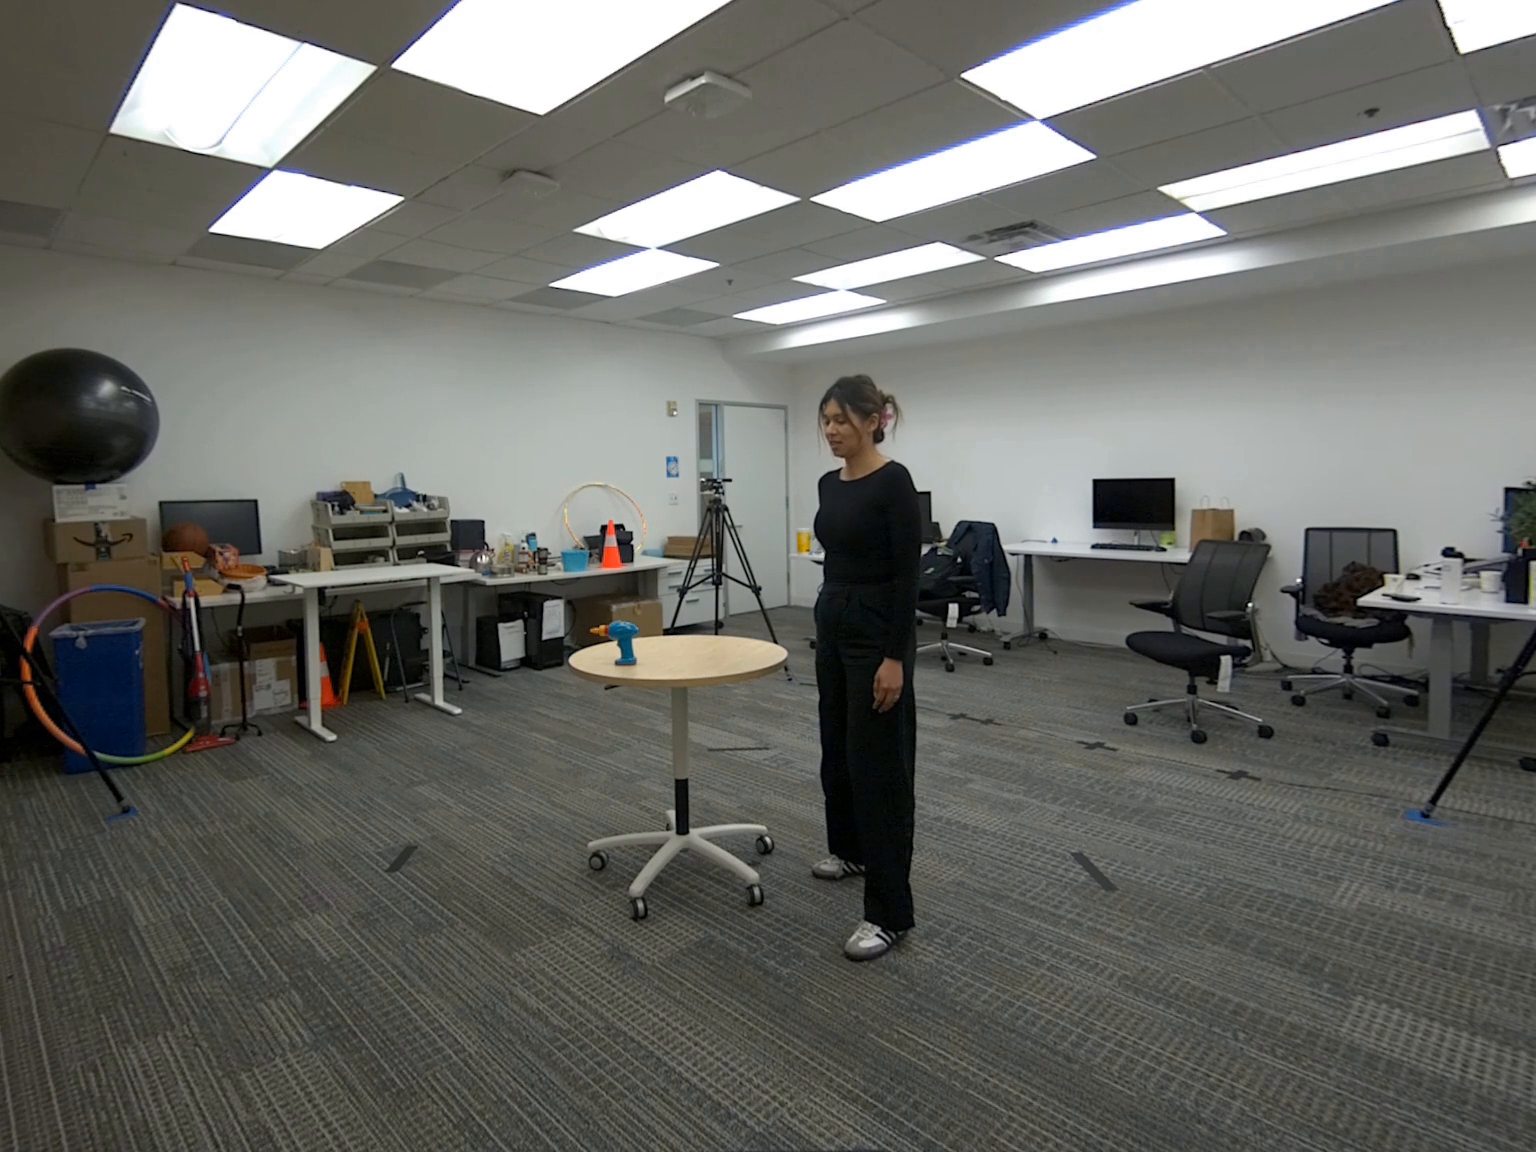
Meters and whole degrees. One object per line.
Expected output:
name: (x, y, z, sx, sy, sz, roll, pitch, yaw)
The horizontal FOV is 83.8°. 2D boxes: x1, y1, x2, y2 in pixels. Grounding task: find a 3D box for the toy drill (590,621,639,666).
toy drill: (-0.512, 0.222, 2.866, 0.171, 0.146, 0.061, 0, 0, 5)
